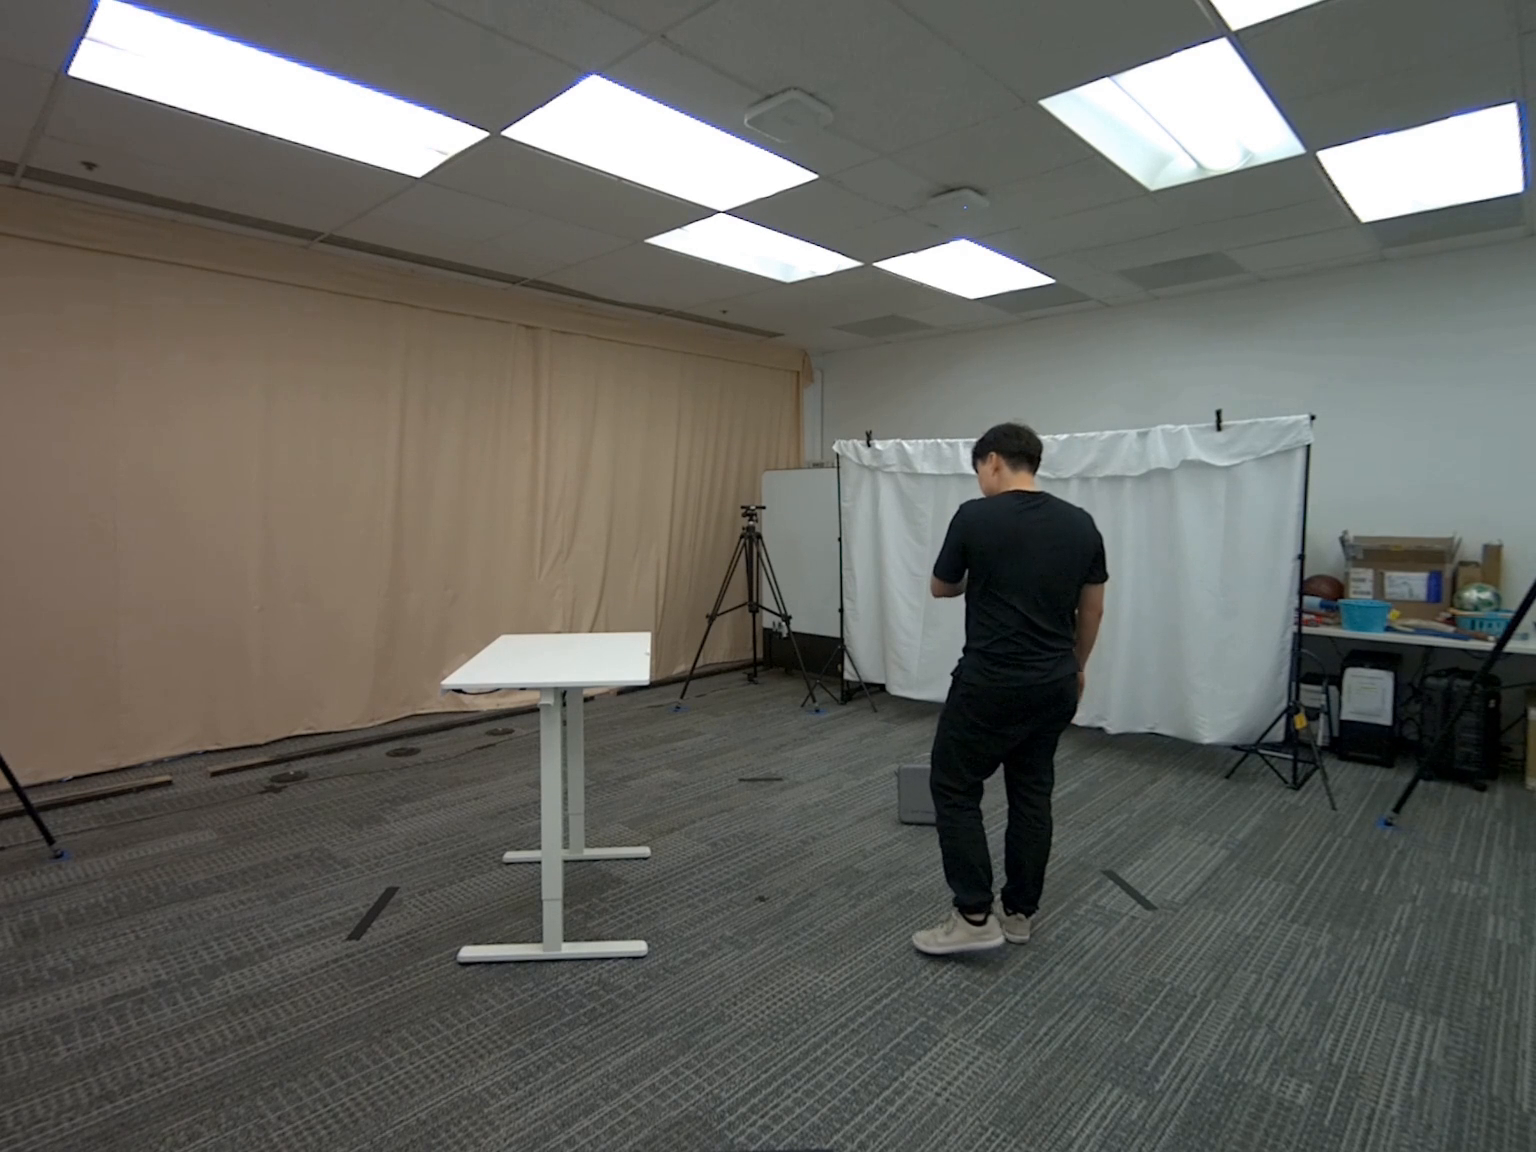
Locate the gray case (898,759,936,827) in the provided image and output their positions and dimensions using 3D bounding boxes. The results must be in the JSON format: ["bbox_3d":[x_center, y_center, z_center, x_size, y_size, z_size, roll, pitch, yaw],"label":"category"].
[{"bbox_3d":[0.706,0.948,3.710,0.259,0.261,0.103,1,-5,7],"label":"gray case"}]
